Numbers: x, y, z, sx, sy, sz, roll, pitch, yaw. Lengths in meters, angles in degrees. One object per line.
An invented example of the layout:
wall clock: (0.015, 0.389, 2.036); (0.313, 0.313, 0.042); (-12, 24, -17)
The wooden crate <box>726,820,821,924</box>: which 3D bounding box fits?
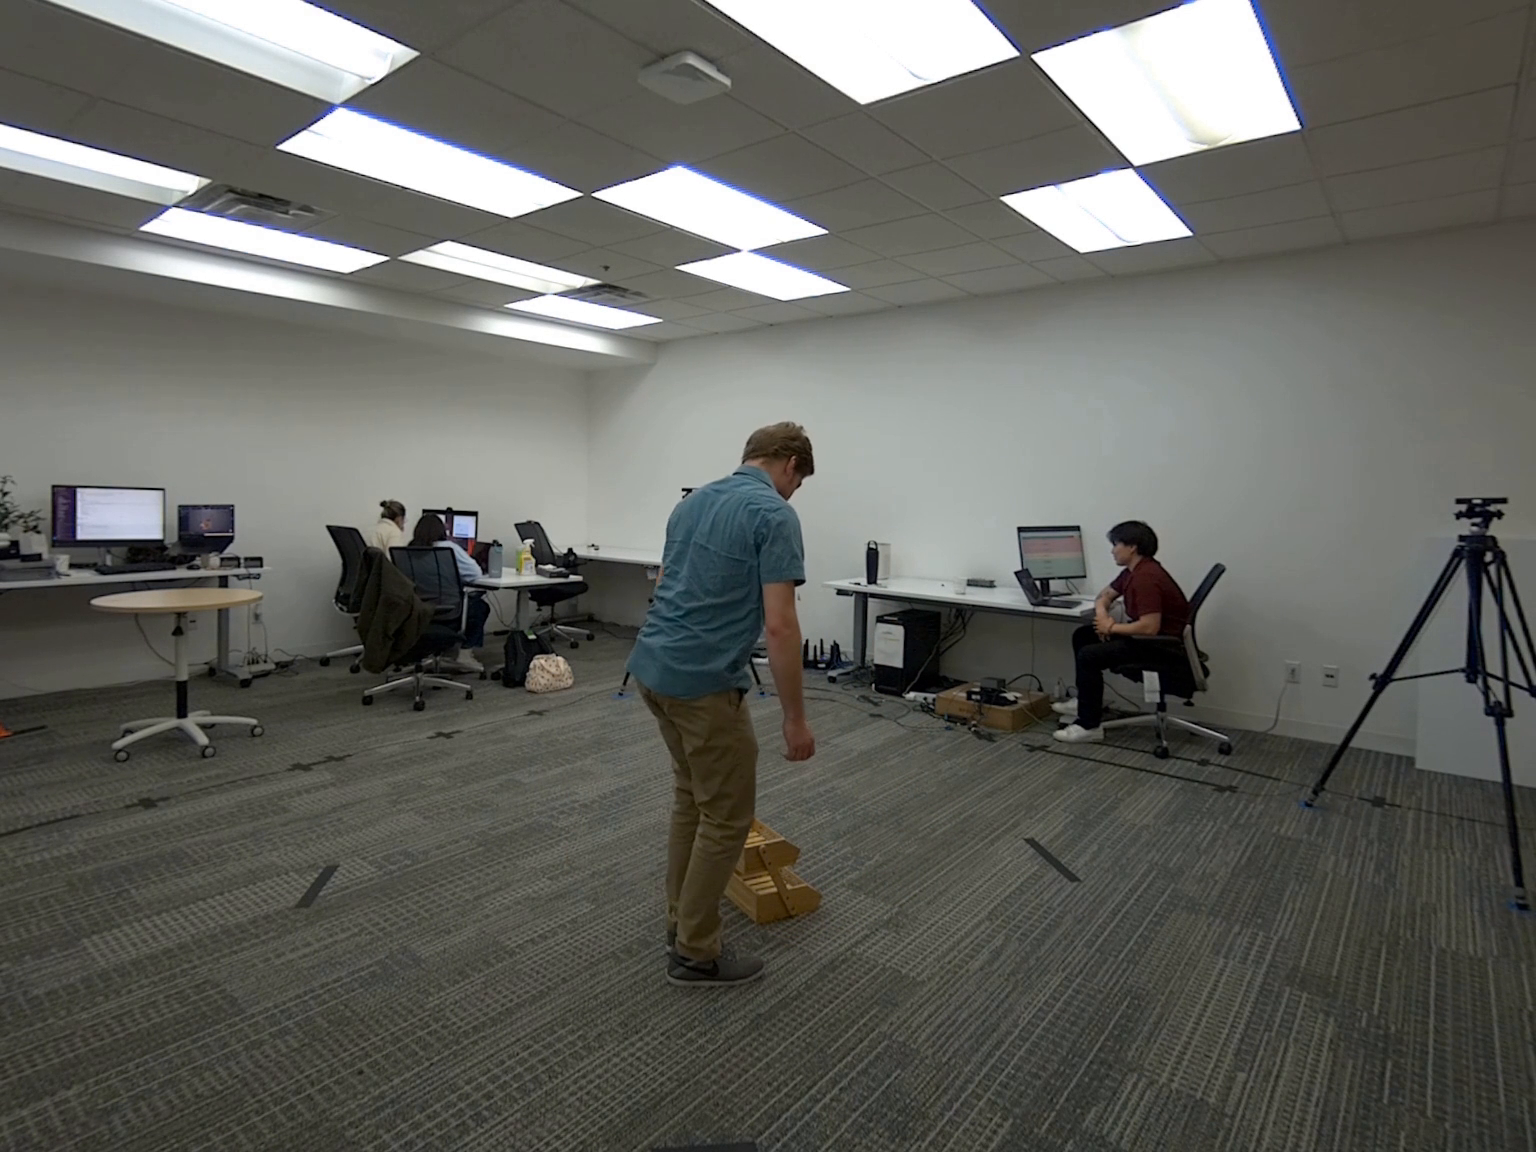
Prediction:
wooden crate: (-0.029, 0.960, 2.890); (0.294, 0.272, 0.334); (-1, 5, -30)
